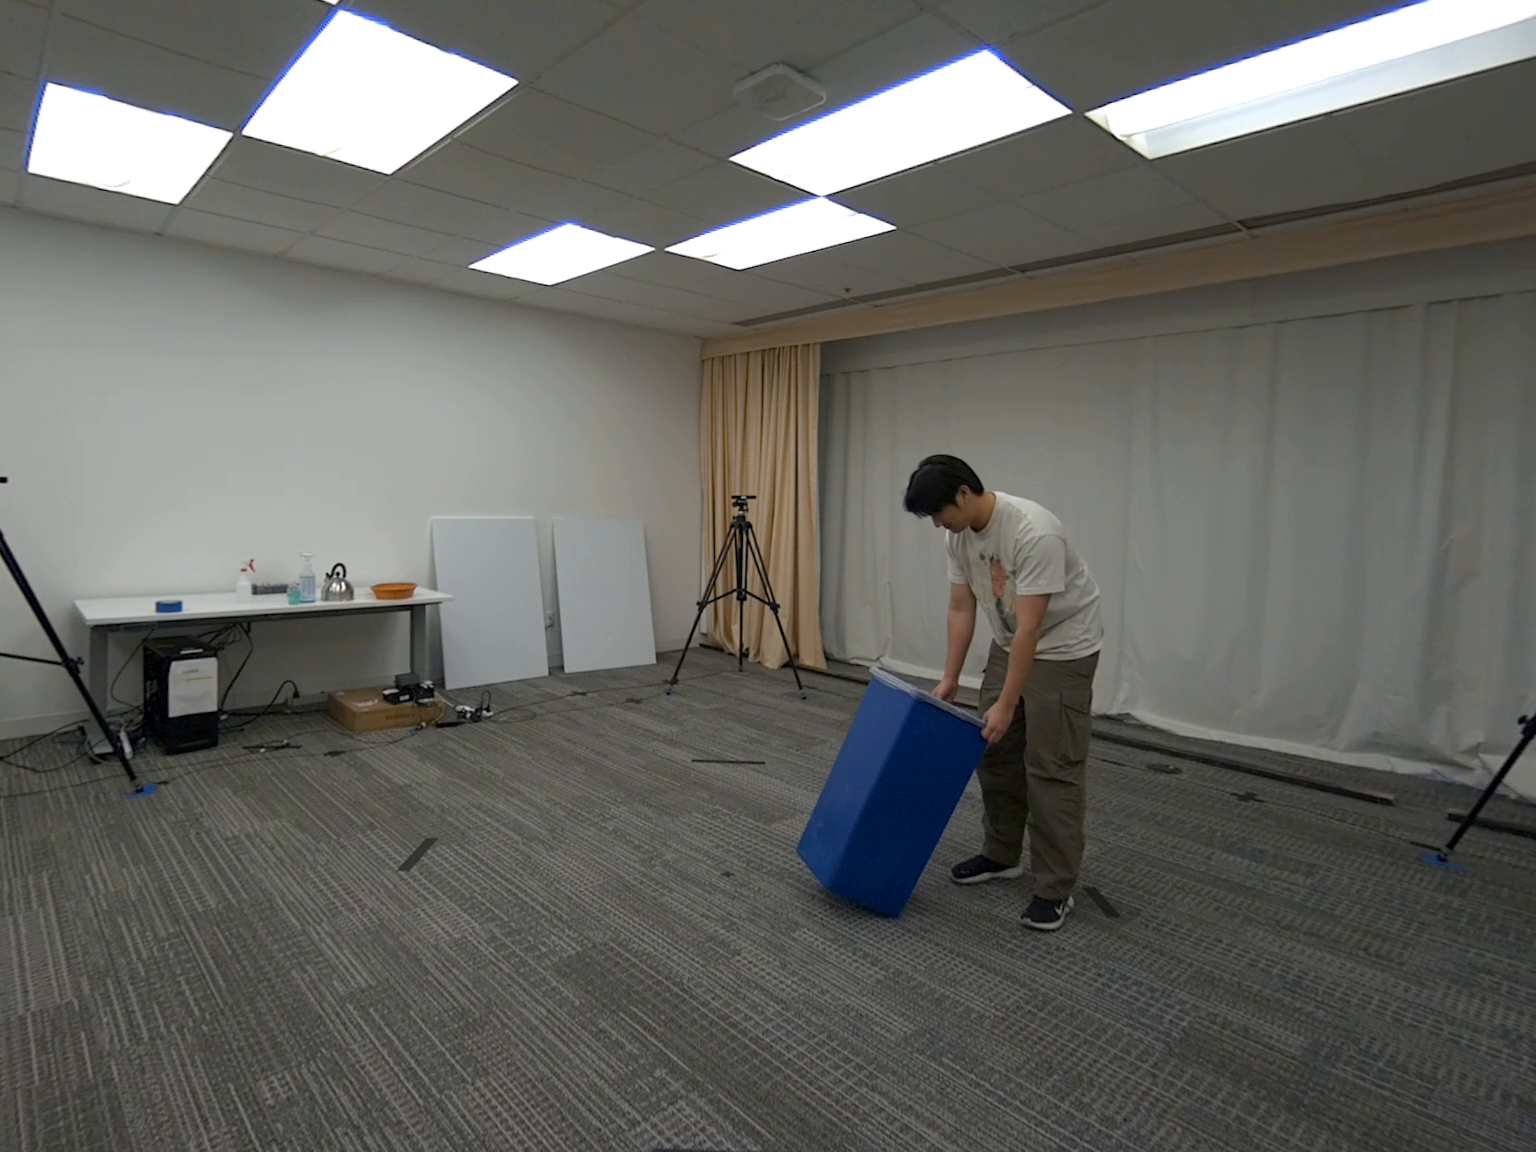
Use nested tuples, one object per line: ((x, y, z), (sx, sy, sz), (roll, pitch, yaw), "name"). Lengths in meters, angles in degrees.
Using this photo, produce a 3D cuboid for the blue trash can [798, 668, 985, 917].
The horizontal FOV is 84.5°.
((0.416, 0.741, 2.912), (0.368, 0.714, 0.384), (28, -3, -18), "blue trash can")
